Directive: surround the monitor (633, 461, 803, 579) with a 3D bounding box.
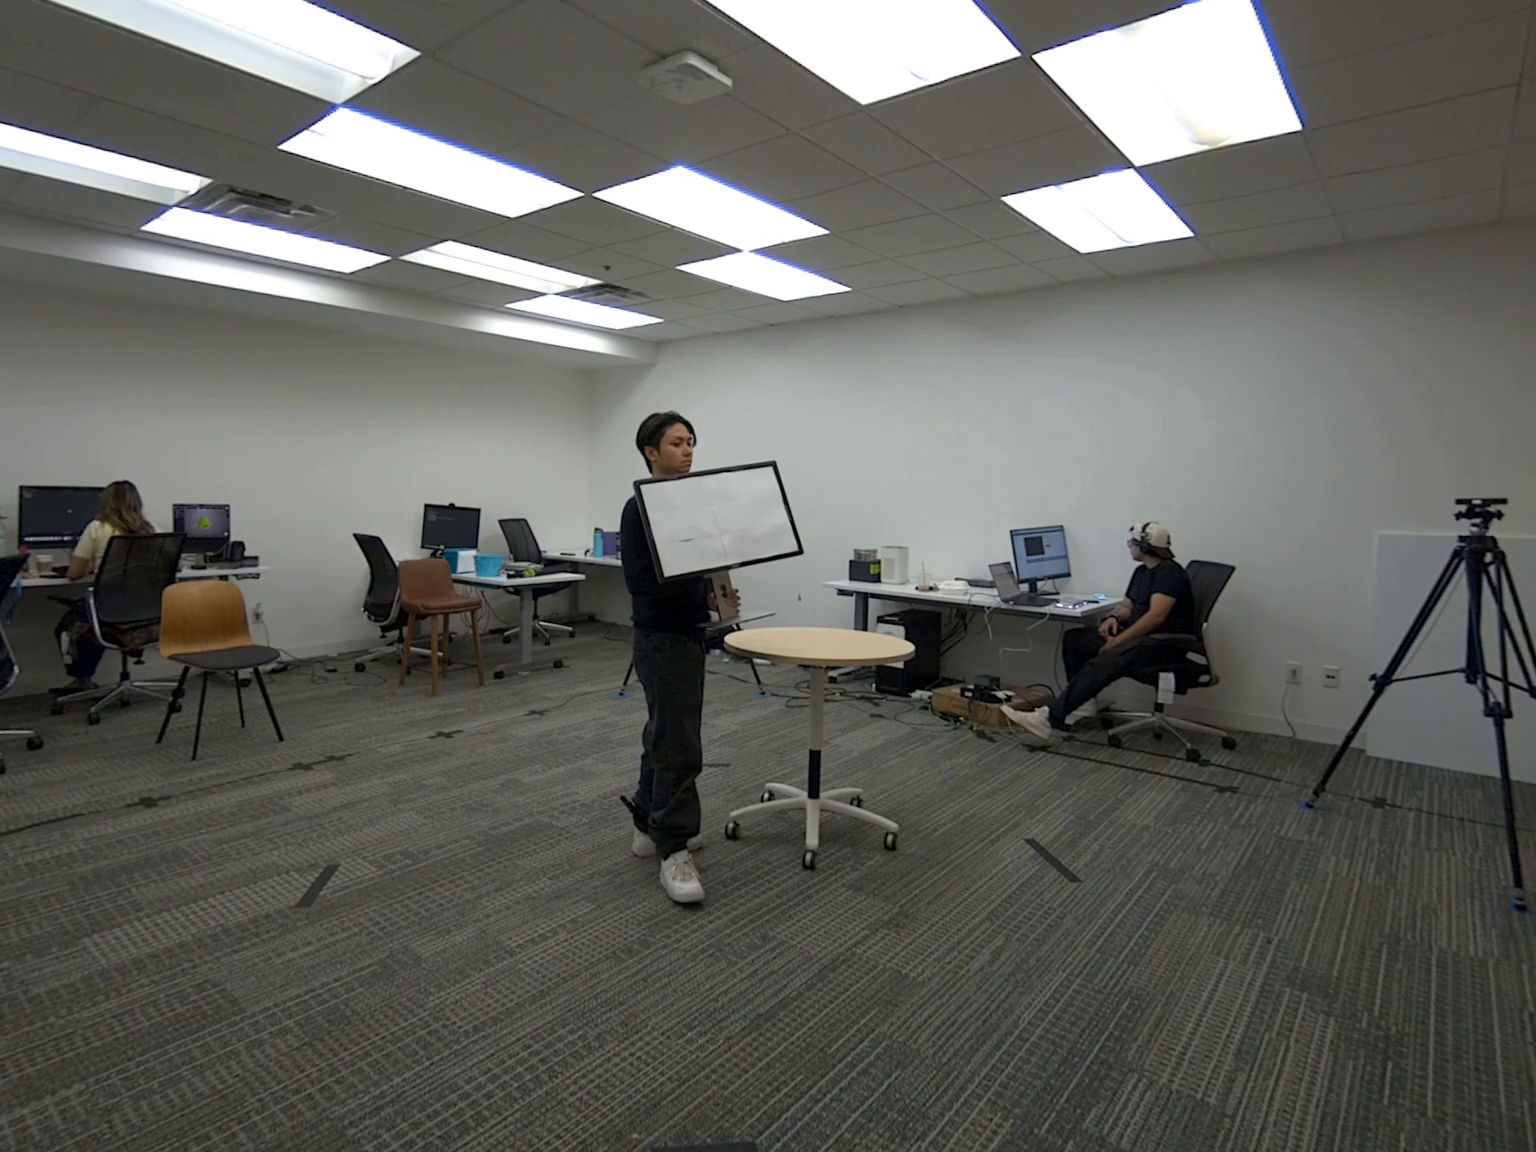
[{"bbox_3d":[-0.169,-0.115,2.983,0.518,0.514,0.179,-10,5,-28],"label":"monitor"}]
